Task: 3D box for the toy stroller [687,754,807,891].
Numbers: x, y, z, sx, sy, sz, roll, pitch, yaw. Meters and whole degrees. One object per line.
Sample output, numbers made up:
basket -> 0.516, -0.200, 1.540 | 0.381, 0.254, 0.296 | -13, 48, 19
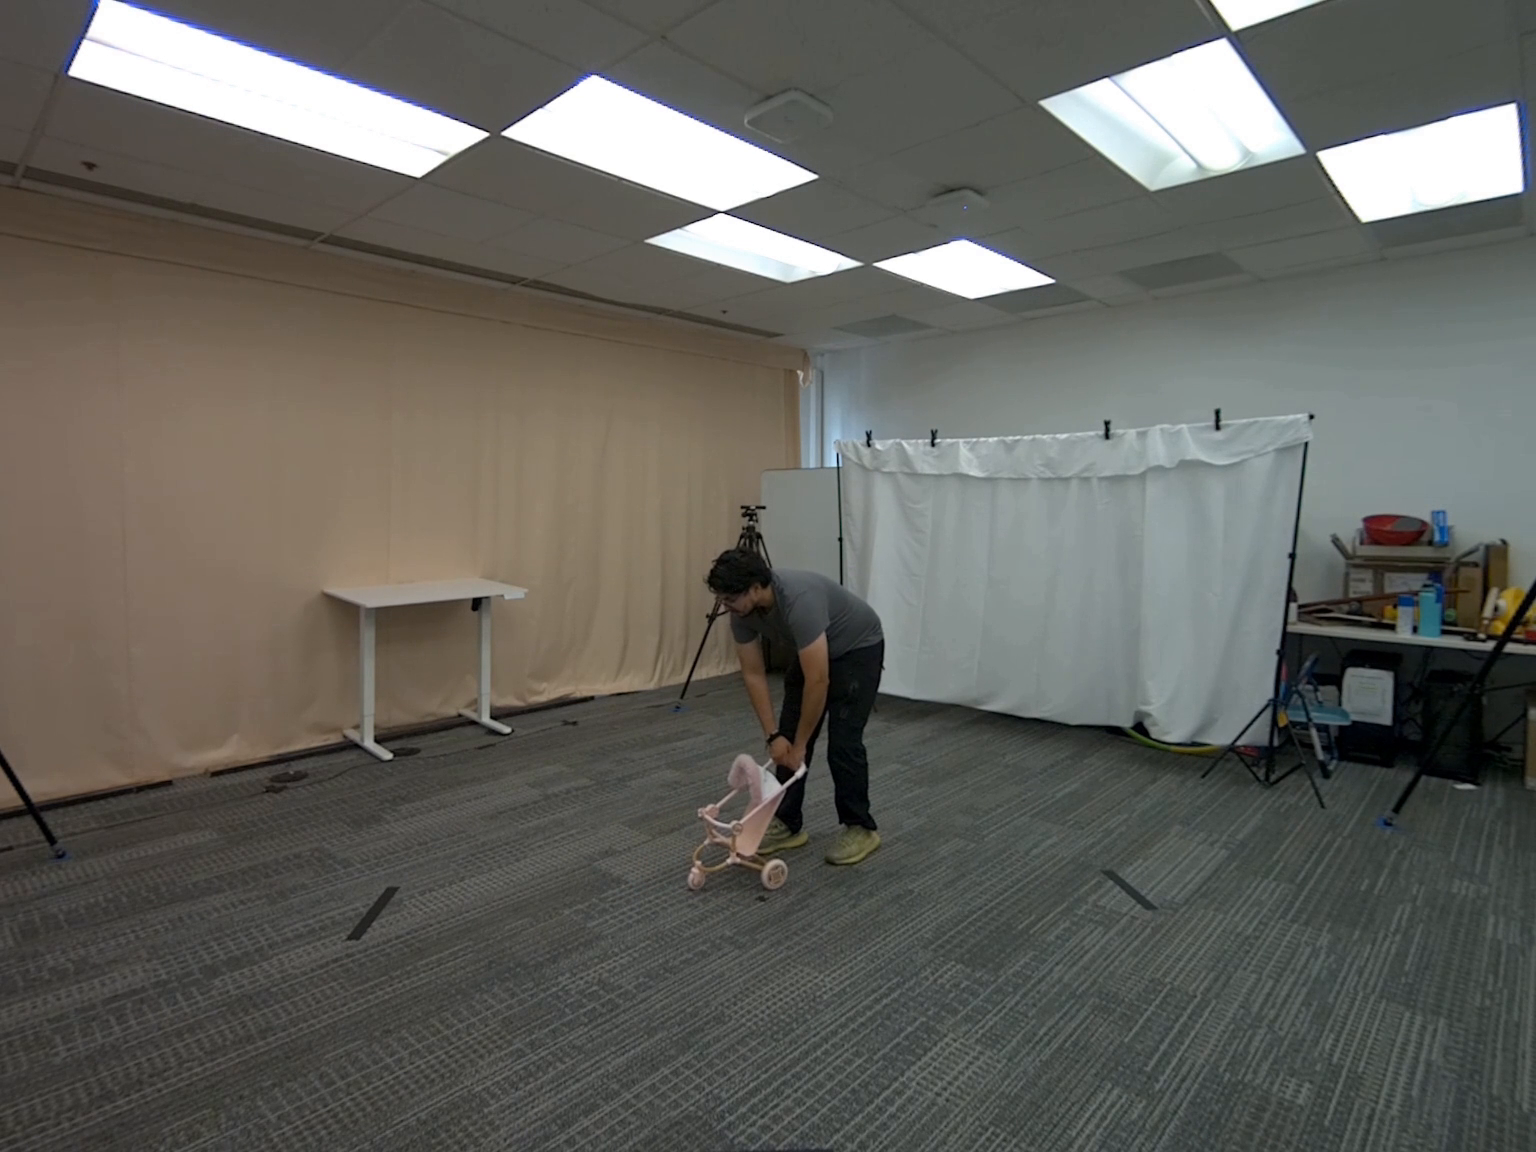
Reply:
toy stroller -> -0.095, 0.905, 3.130 | 0.333, 0.535, 0.288 | 16, -3, -23
